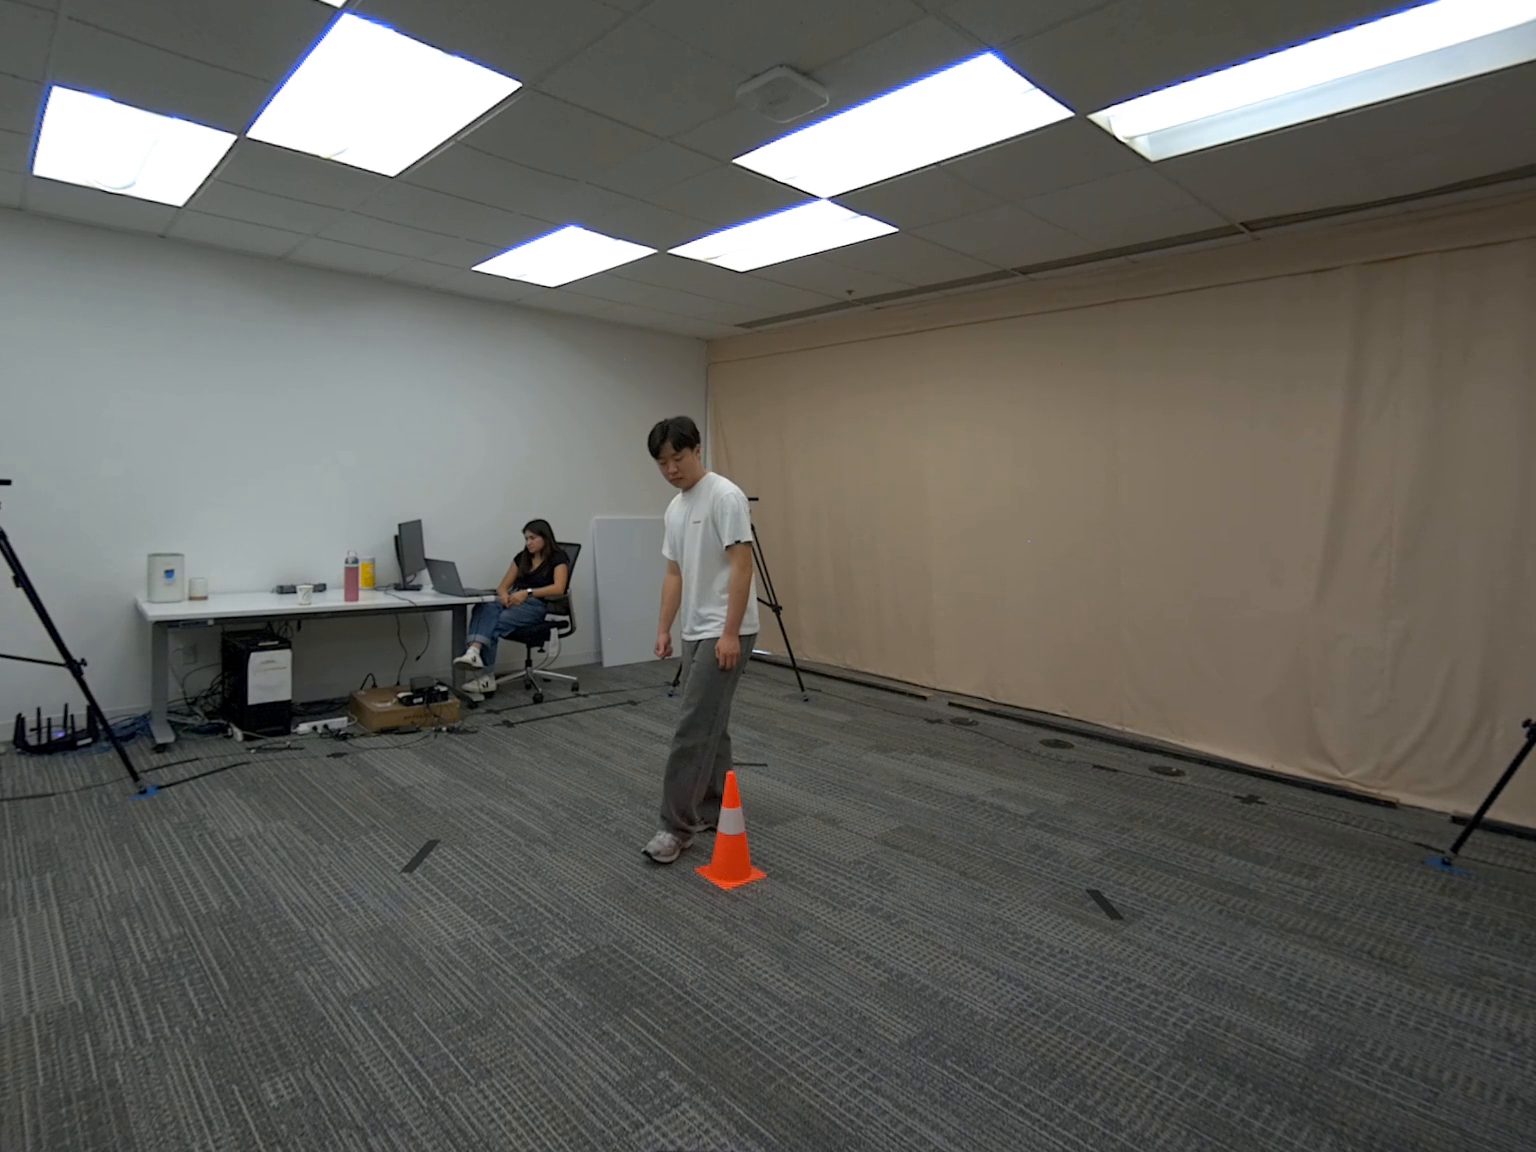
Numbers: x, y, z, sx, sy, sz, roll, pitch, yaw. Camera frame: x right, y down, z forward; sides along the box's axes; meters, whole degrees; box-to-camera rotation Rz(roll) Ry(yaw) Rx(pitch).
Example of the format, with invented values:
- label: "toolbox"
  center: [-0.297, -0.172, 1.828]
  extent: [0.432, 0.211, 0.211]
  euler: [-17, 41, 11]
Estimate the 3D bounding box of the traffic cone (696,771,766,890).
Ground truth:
- label: "traffic cone"
  center: [-0.150, 0.922, 3.120]
  extent: [0.201, 0.383, 0.208]
  euler: [-2, 3, -30]
